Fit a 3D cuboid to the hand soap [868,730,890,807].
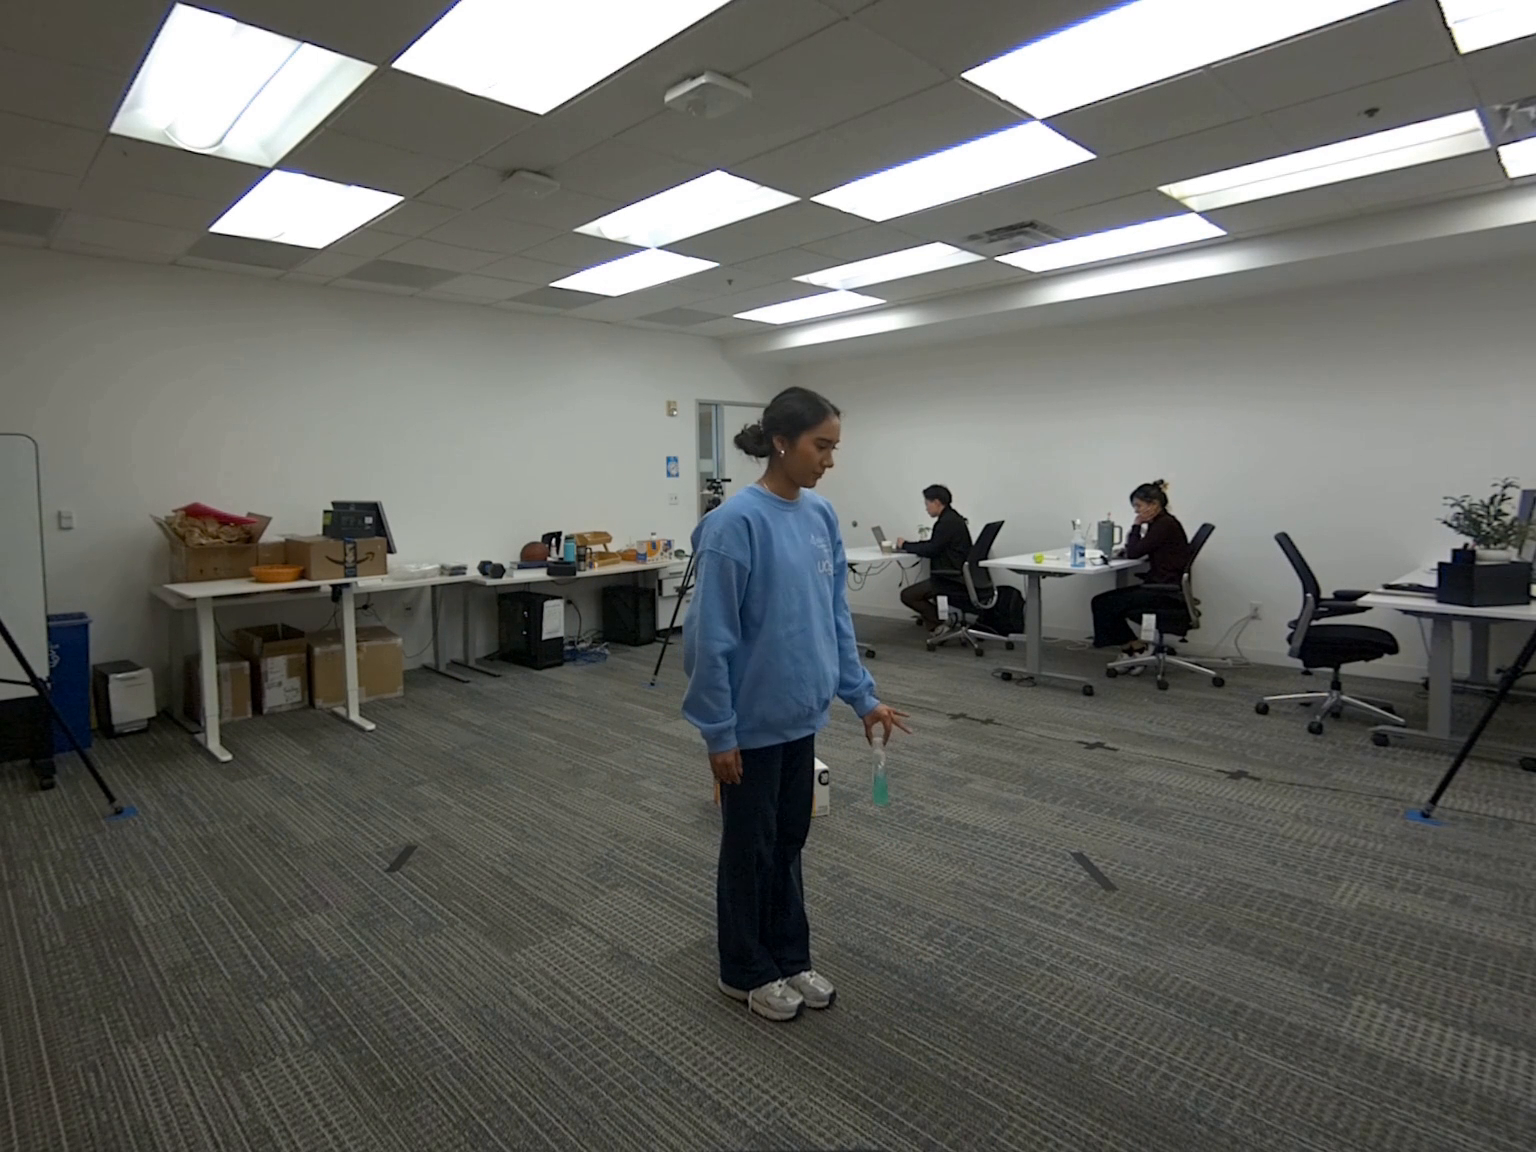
[{"bbox_3d":[0.300,0.514,2.297,0.043,0.167,0.084,-1,4,3],"label":"hand soap"}]
